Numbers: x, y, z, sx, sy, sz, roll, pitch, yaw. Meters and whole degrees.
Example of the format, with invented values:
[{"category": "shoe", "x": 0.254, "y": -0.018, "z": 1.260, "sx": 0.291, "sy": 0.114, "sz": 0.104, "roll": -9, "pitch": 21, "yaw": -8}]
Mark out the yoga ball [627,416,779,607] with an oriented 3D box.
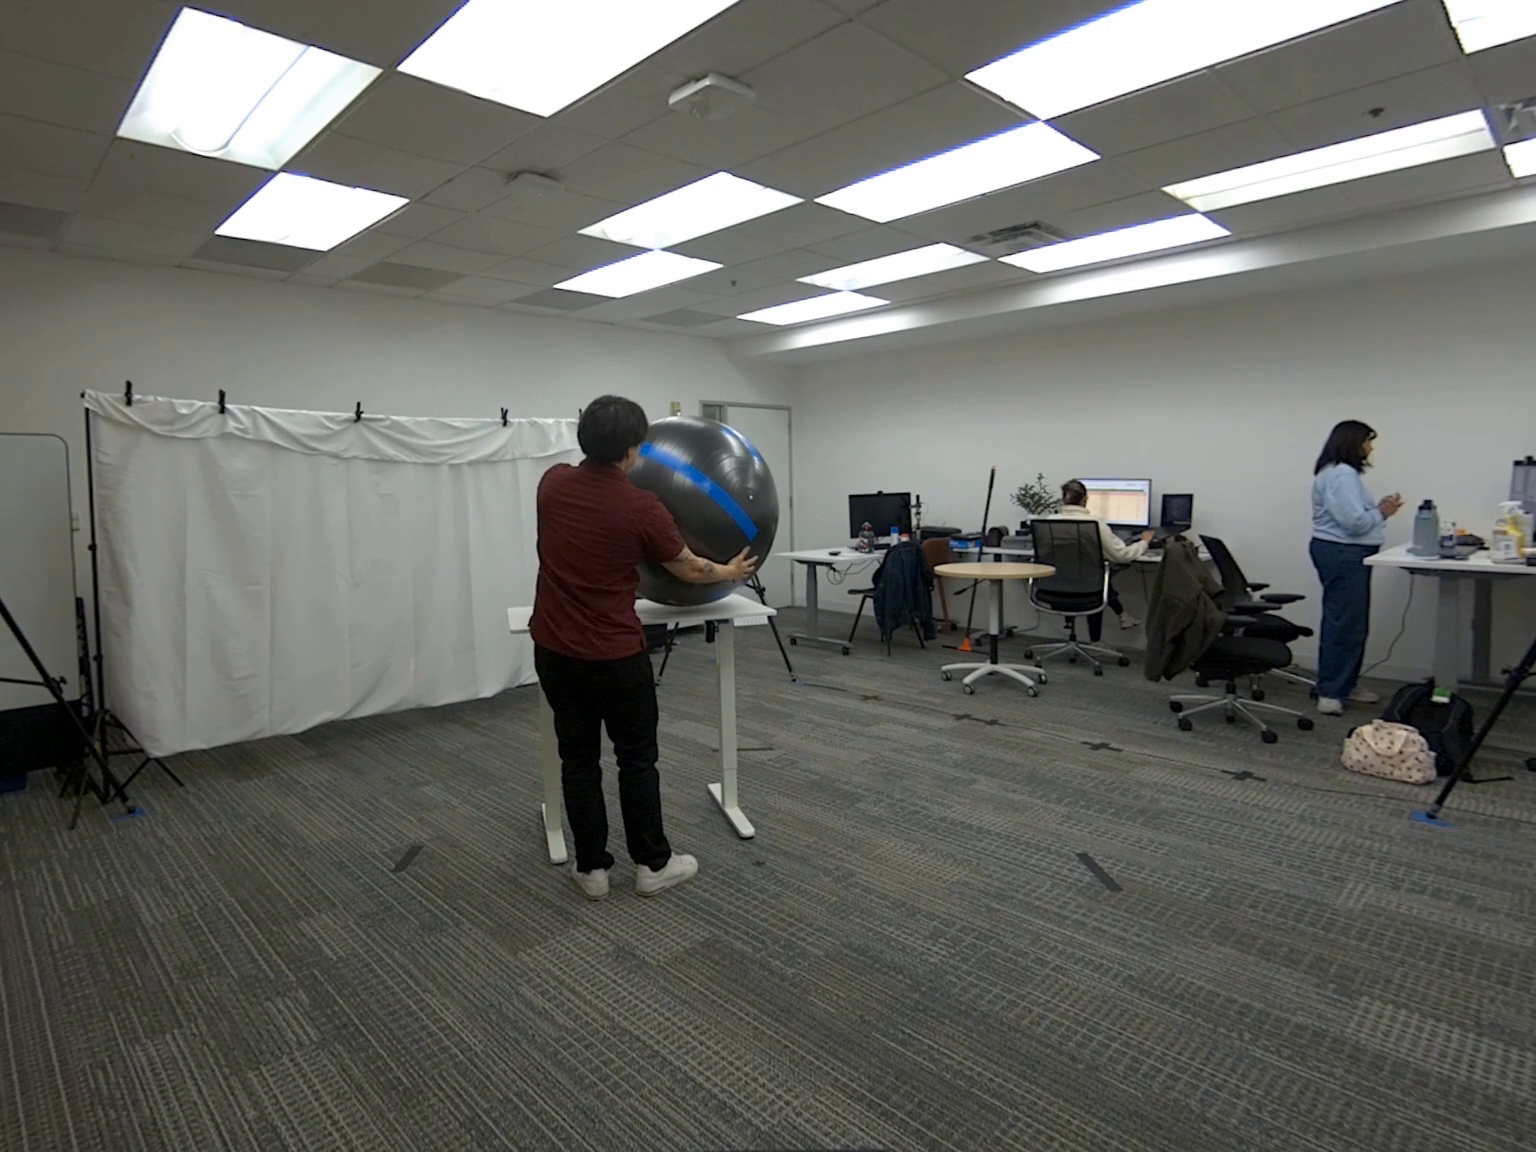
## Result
[{"category": "yoga ball", "x": -0.348, "y": -0.254, "z": 3.420, "sx": 0.757, "sy": 0.755, "sz": 0.762, "roll": -1, "pitch": 5, "yaw": -2}]
